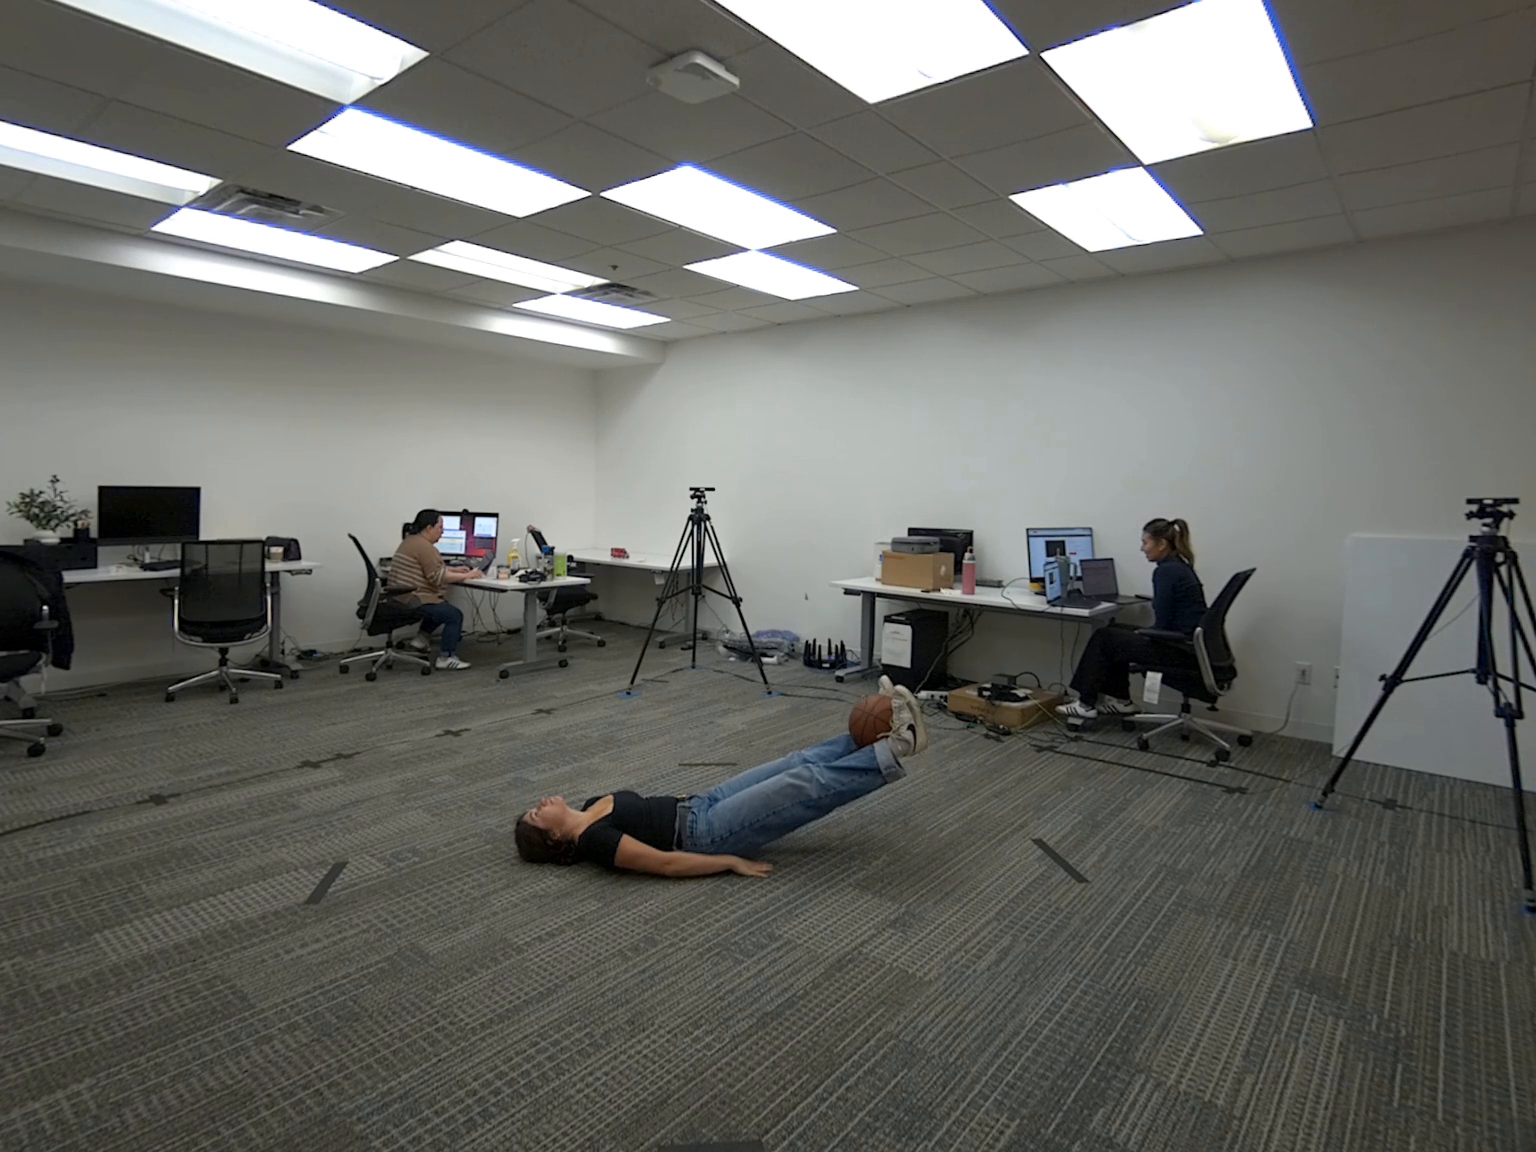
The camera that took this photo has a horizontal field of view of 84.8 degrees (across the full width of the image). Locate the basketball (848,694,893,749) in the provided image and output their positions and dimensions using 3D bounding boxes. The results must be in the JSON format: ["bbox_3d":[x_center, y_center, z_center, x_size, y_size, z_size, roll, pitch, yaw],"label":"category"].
[{"bbox_3d":[0.429,0.584,3.337,0.235,0.235,0.237,1,4,-2],"label":"basketball"}]
